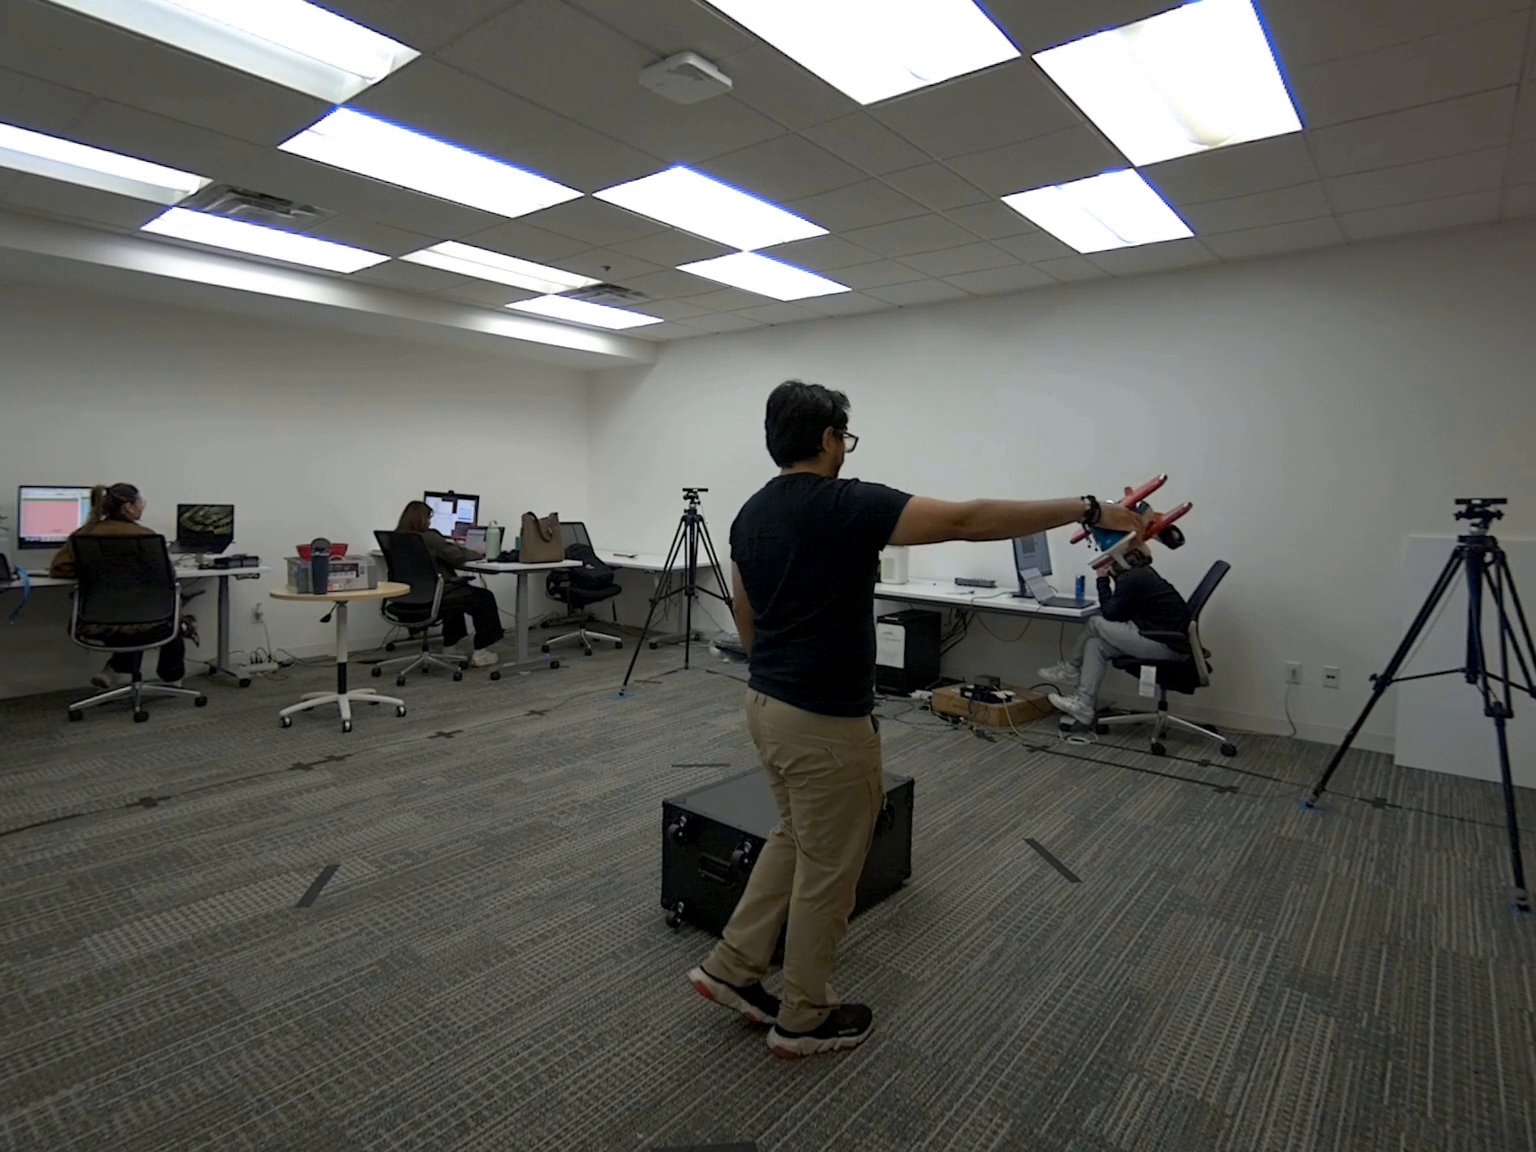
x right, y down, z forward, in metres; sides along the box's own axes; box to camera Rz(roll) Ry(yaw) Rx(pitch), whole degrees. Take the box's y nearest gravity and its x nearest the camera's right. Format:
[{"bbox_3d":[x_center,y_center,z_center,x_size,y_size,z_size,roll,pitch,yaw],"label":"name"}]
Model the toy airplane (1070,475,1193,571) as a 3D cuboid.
[{"bbox_3d":[0.806,-0.102,1.871,0.252,0.160,0.251,-34,-18,16],"label":"toy airplane"}]
